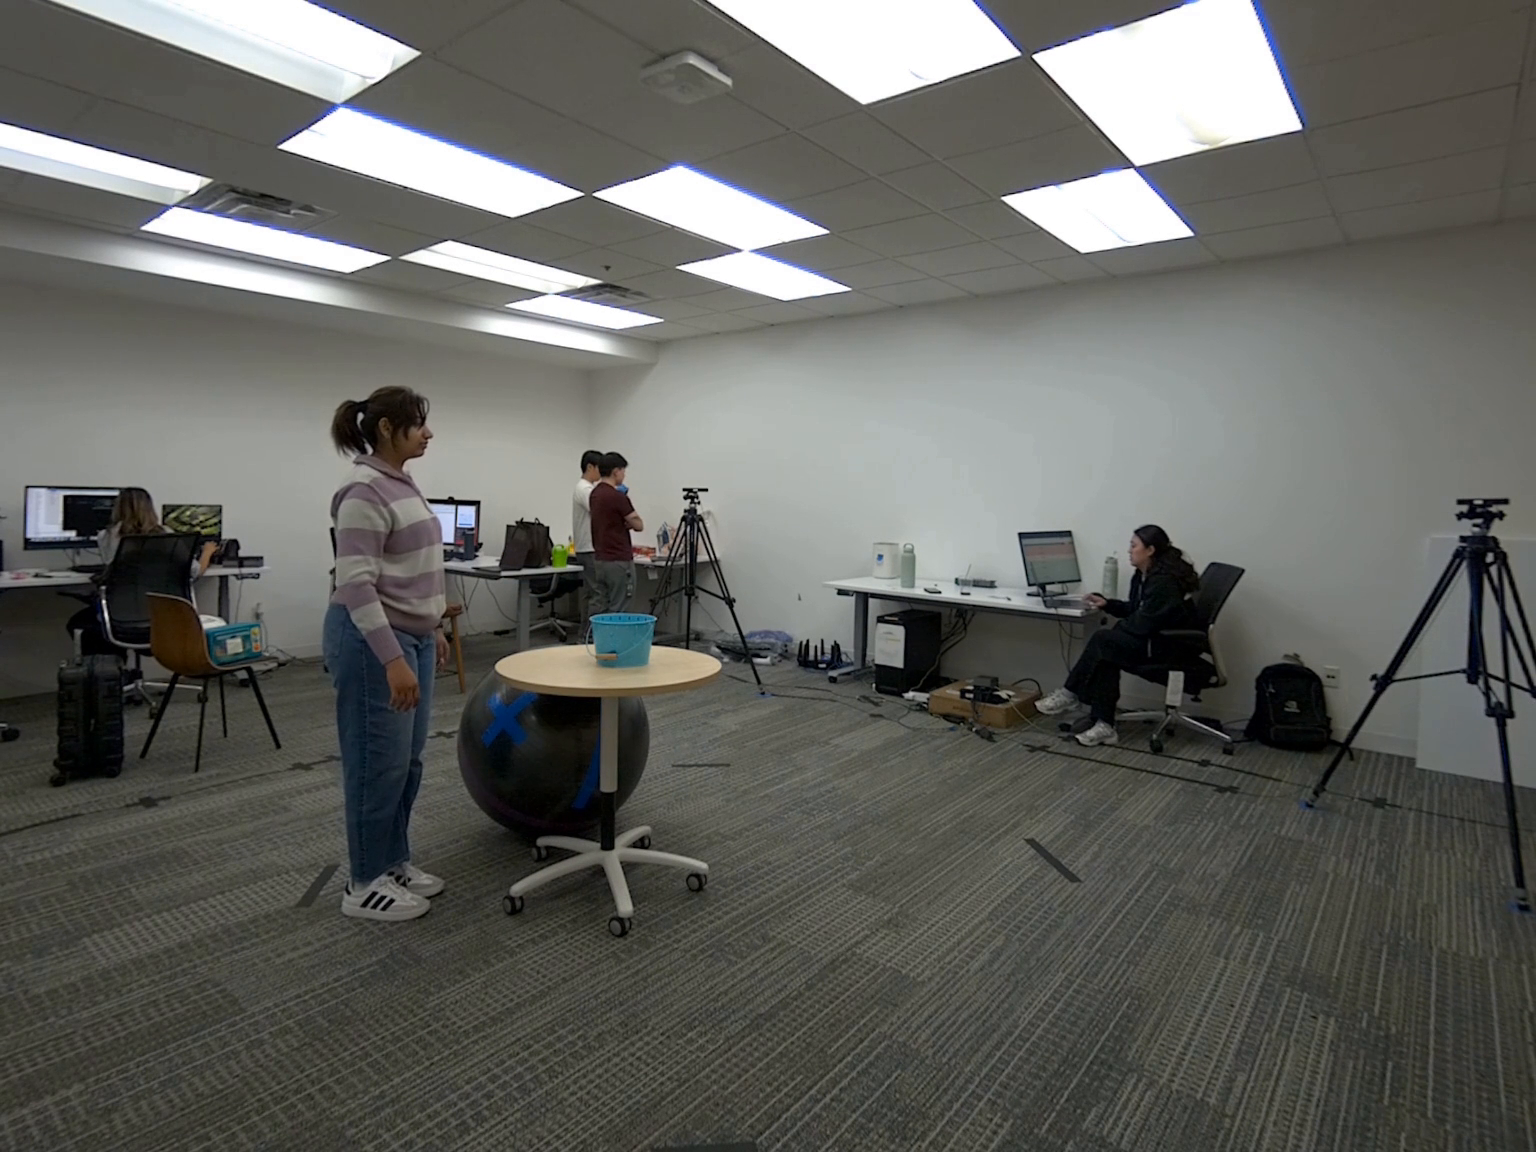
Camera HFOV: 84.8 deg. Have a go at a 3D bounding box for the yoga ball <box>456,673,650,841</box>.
[{"bbox_3d":[-0.875,0.657,3.440,0.757,0.755,0.762,1,4,-2],"label":"yoga ball"}]
